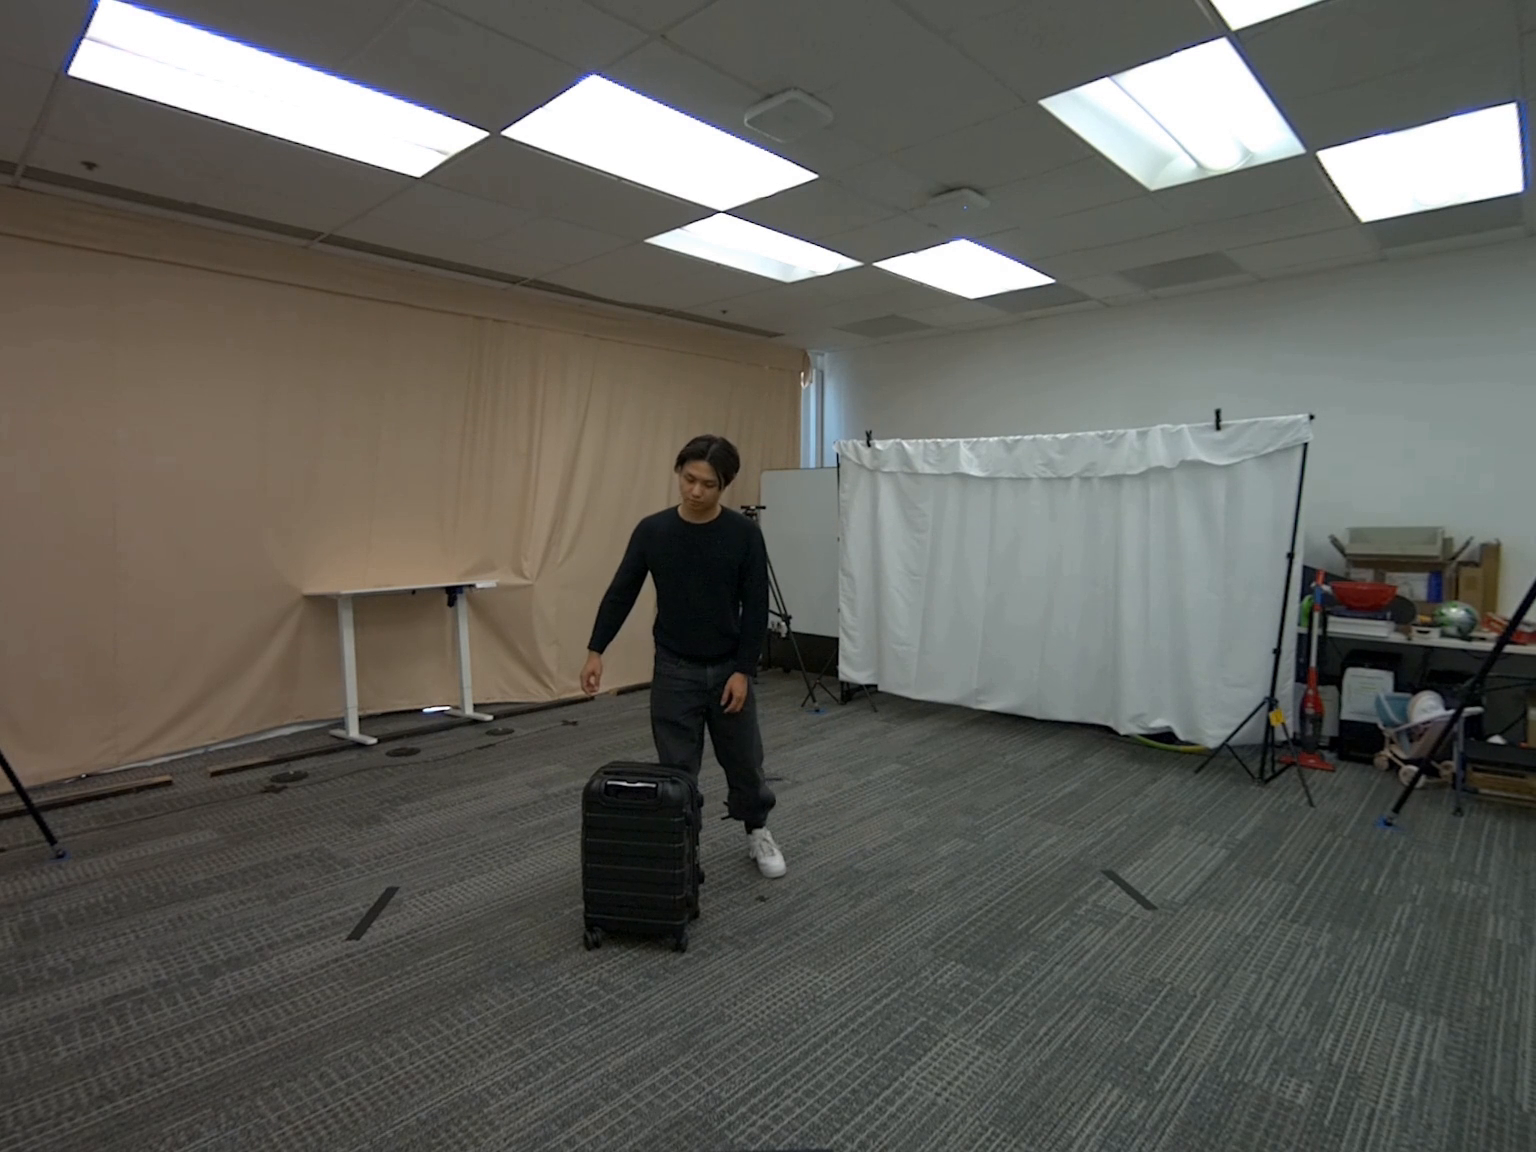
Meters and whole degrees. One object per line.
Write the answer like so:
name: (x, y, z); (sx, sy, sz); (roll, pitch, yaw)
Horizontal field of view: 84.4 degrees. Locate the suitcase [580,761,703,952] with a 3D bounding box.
suitcase: (-0.411, 0.888, 2.742); (0.380, 0.548, 0.246); (-1, 3, 10)
